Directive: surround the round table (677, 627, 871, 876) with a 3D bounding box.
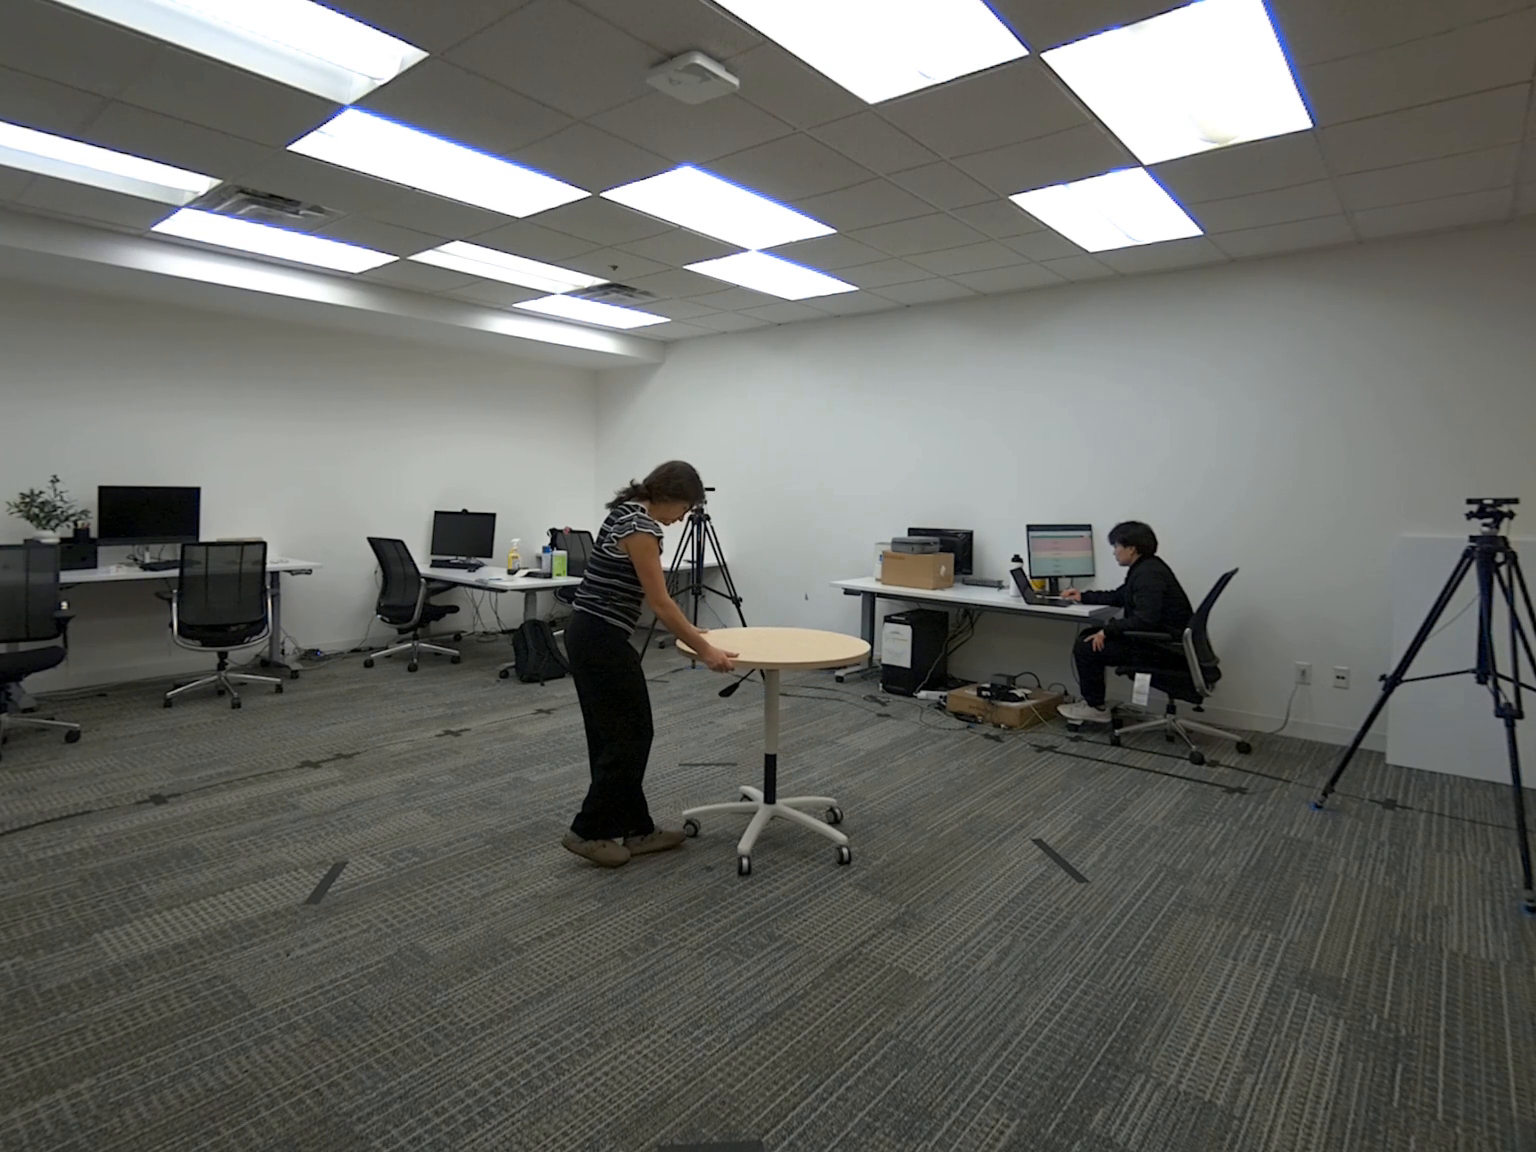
[{"bbox_3d":[0.010,0.657,3.379,0.763,0.791,0.768,1,4,-2],"label":"round table"}]
